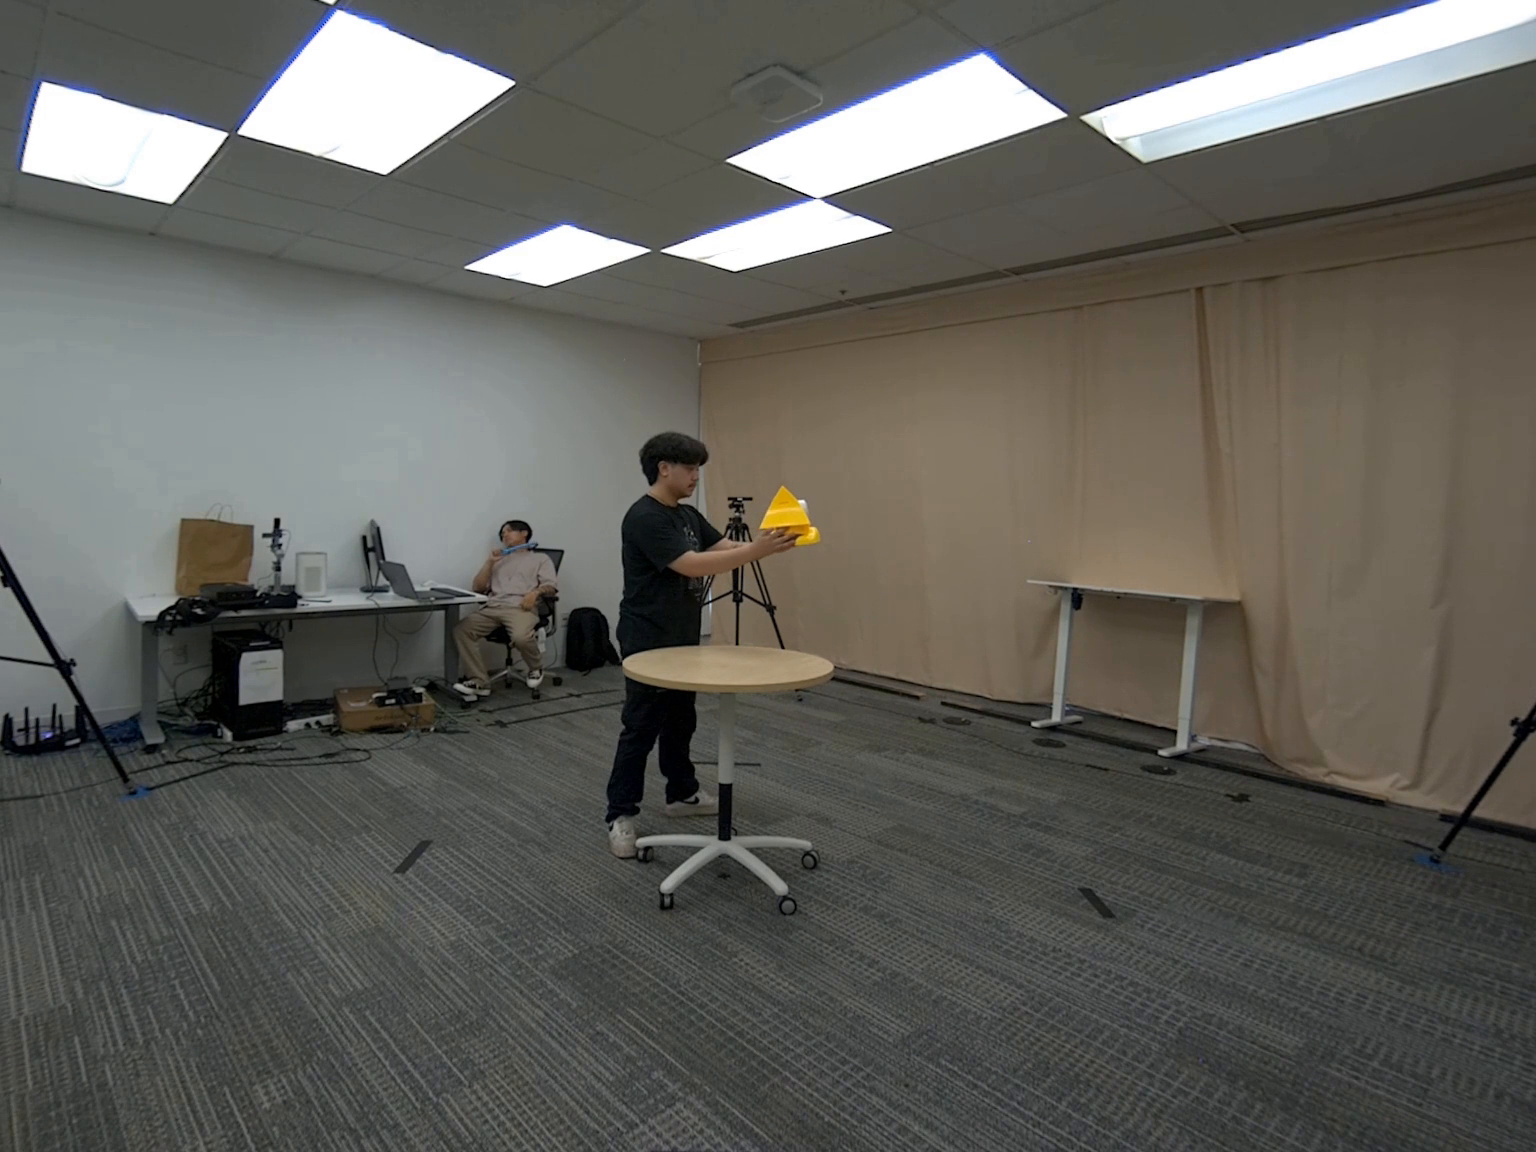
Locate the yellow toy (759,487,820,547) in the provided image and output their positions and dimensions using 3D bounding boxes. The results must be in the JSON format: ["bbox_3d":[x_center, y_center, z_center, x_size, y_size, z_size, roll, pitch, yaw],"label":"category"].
[{"bbox_3d":[0.079,-0.240,3.276,0.208,0.230,0.191,-5,6,21],"label":"yellow toy"}]
